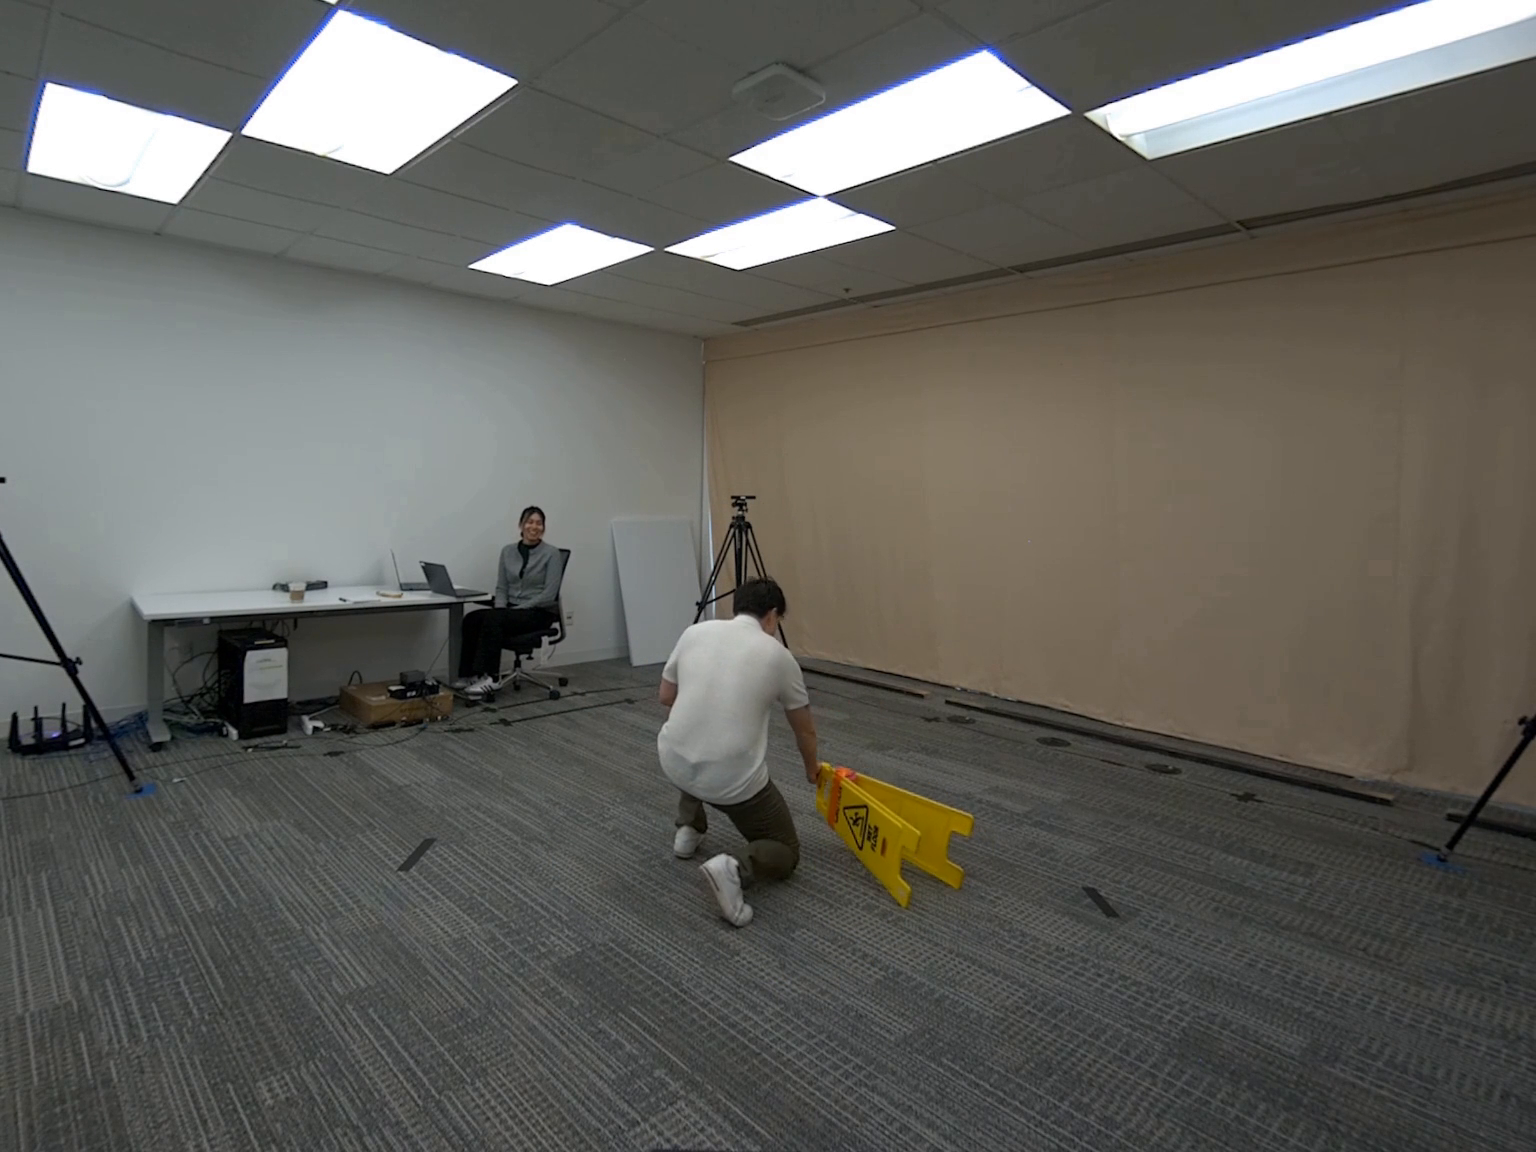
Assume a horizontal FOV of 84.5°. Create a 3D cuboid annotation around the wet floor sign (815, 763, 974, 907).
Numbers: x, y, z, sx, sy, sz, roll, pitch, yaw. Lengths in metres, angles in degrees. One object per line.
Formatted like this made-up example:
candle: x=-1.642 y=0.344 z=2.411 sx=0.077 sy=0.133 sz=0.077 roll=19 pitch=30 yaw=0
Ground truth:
wet floor sign: x=0.395 y=0.923 z=3.183 sx=0.283 sy=0.280 sz=0.665 roll=0 pitch=13 yaw=-39
